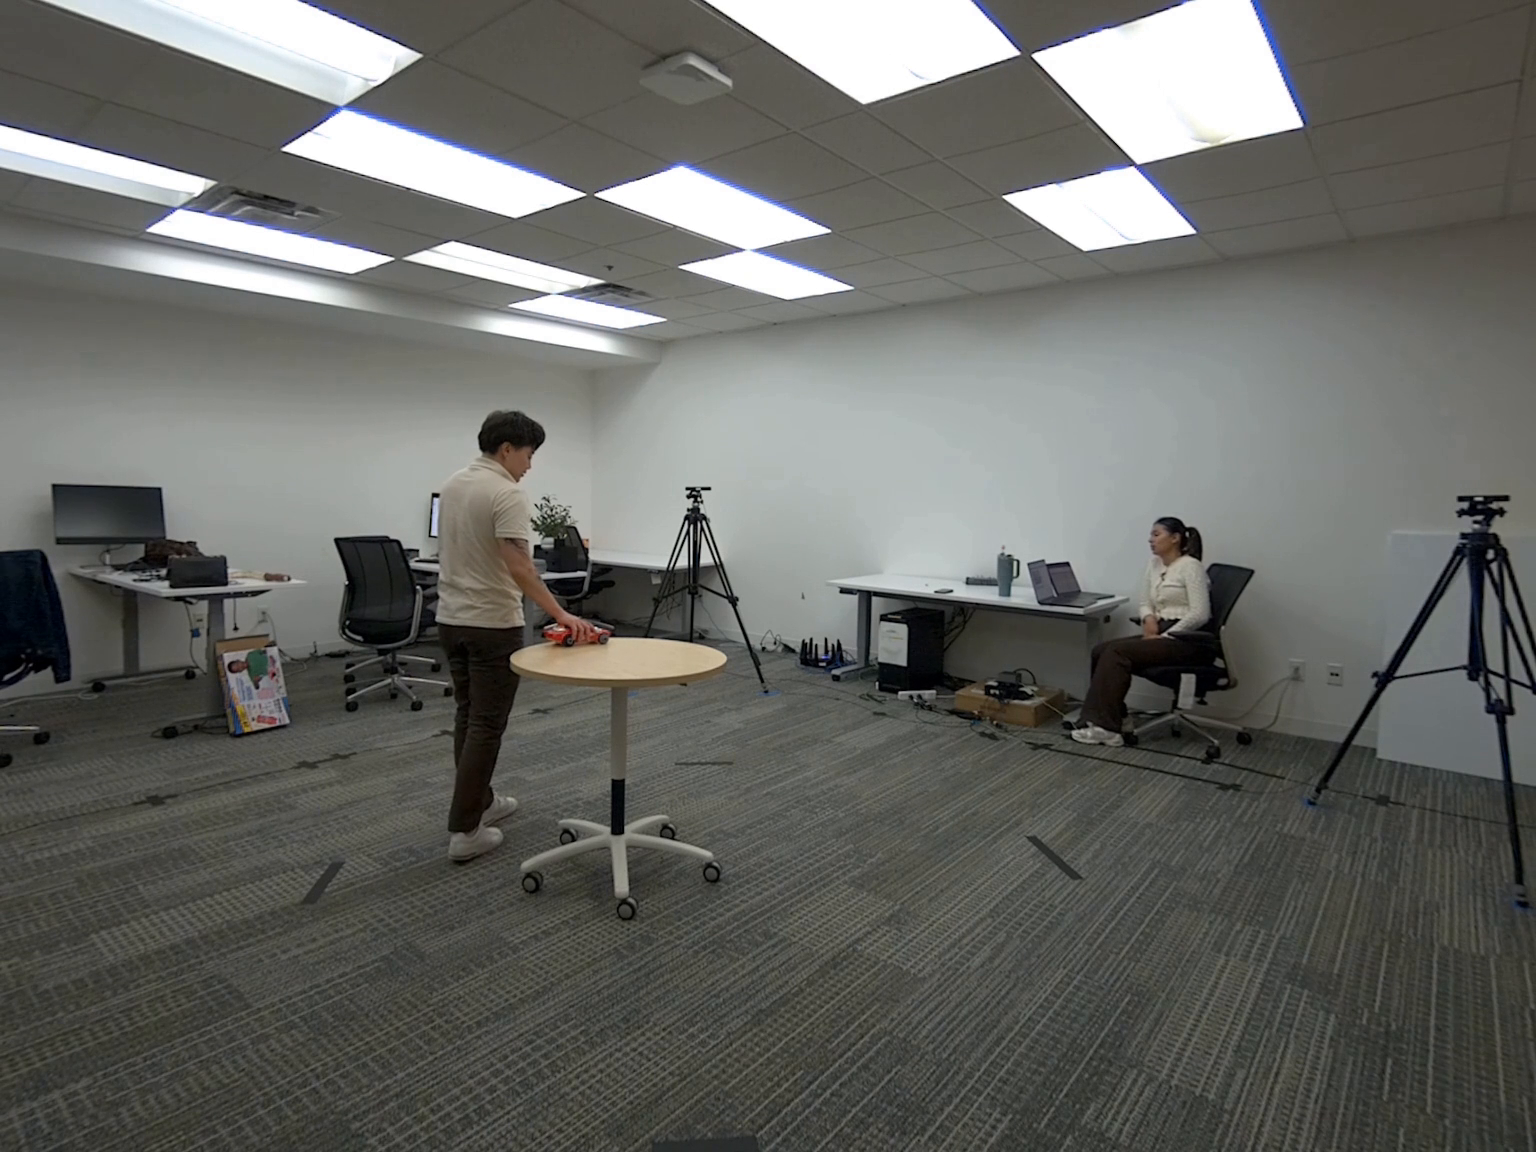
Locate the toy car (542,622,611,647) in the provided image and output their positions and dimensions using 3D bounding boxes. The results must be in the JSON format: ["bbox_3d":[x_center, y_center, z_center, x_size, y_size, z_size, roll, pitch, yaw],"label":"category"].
[{"bbox_3d":[-0.761,0.229,3.256,0.246,0.083,0.134,12,-3,-35],"label":"toy car"}]
